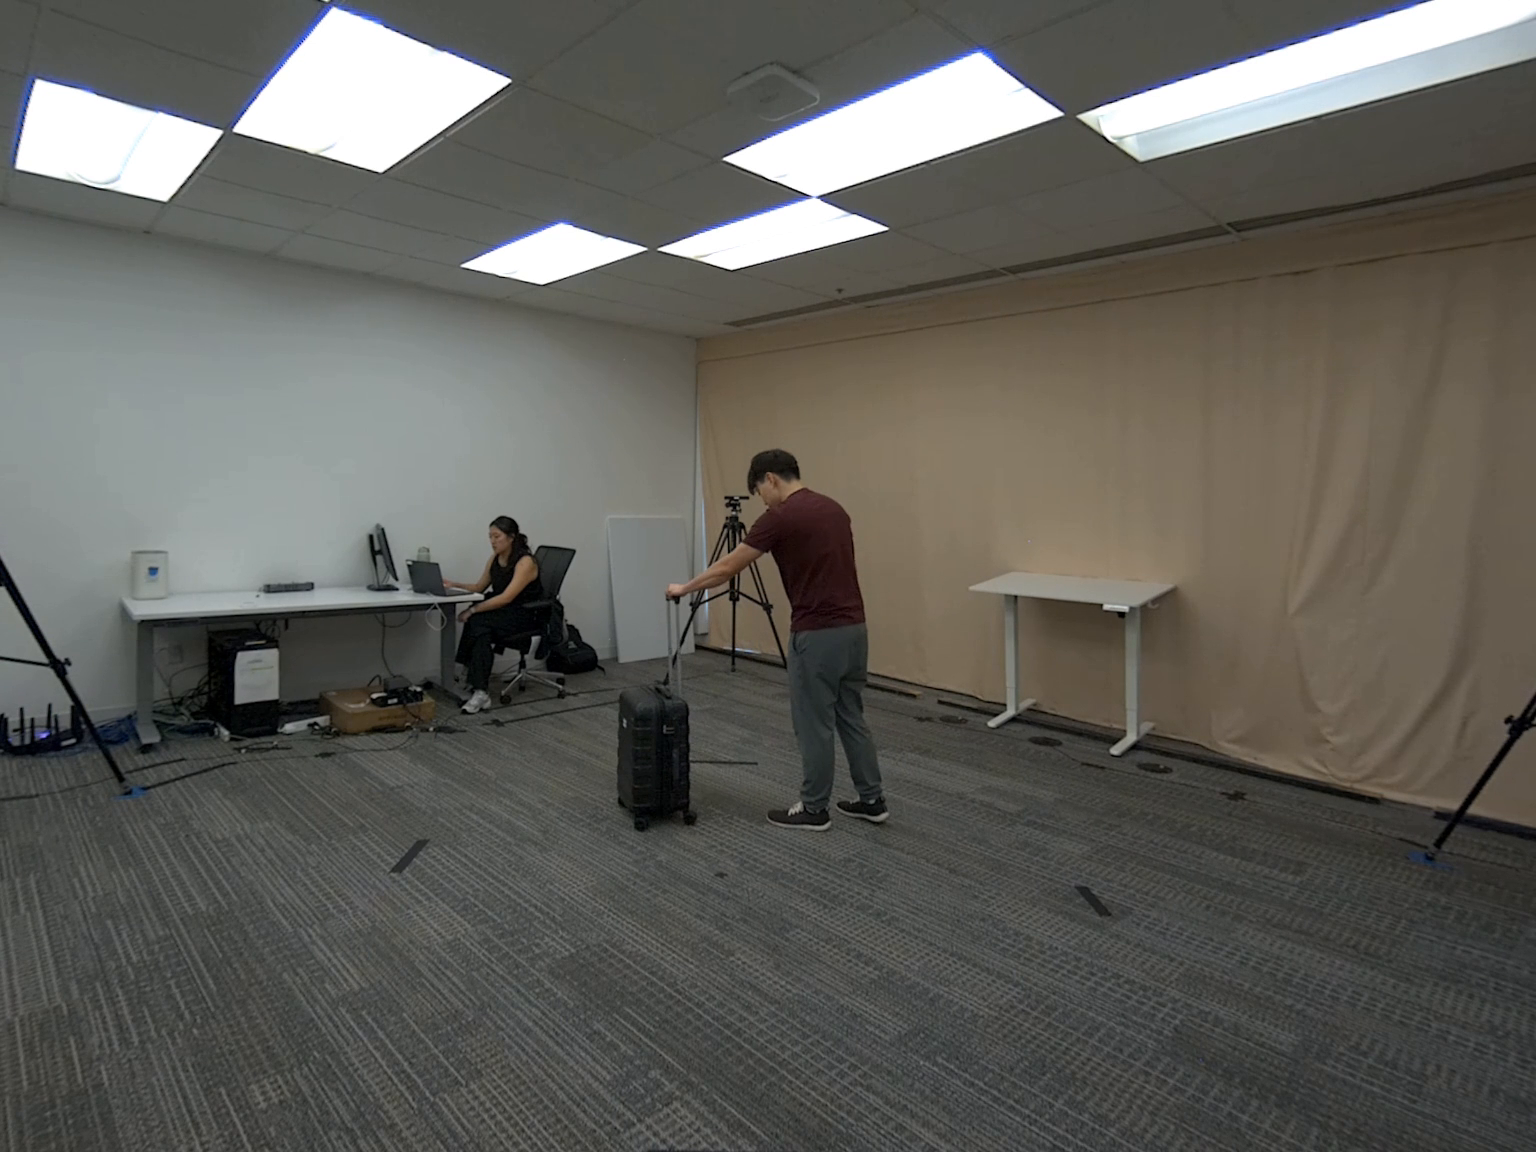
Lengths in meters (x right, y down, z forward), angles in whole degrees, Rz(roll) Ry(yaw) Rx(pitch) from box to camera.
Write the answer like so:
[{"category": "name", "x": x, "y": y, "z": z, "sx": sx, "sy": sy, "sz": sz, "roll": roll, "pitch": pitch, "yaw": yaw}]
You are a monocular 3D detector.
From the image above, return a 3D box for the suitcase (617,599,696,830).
[{"category": "suitcase", "x": -0.511, "y": 0.573, "z": 3.663, "sx": 0.253, "sy": 0.977, "sz": 0.390, "roll": -3, "pitch": 2, "yaw": -21}]
